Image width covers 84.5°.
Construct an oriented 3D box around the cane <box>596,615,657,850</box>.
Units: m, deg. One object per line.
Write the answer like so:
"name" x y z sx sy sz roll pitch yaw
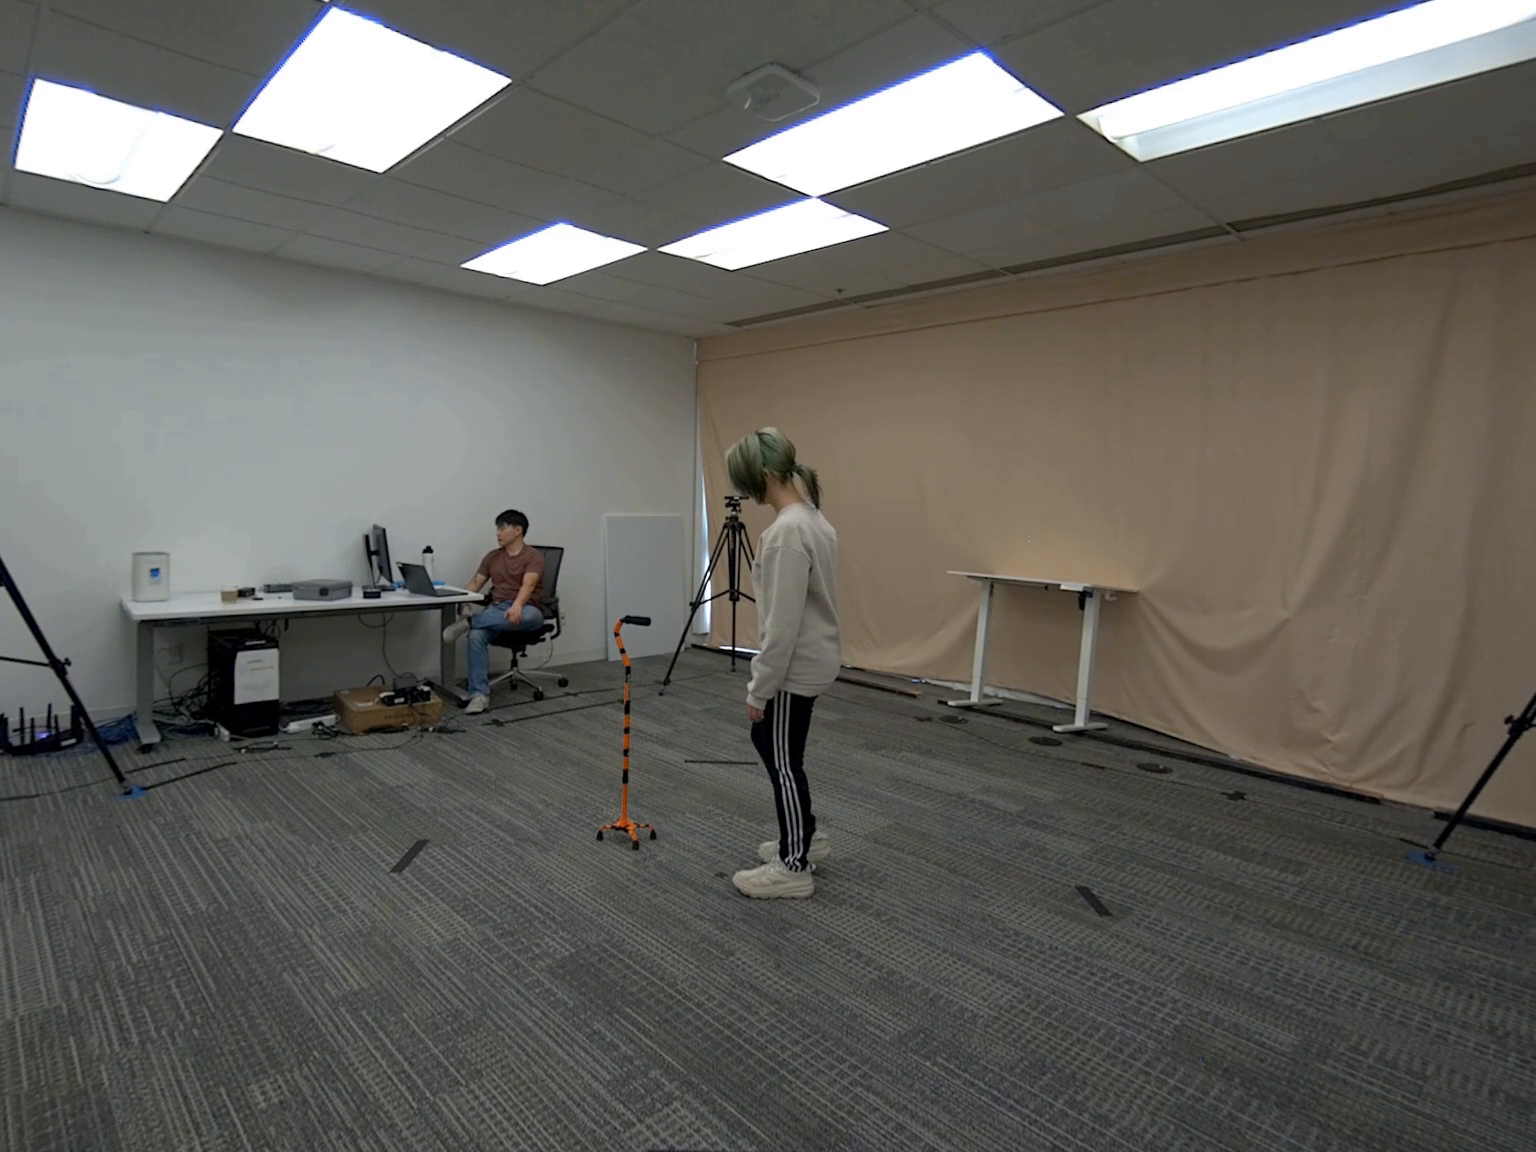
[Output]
"cane" -0.575 0.614 3.388 0.210 0.906 0.149 2 3 27
